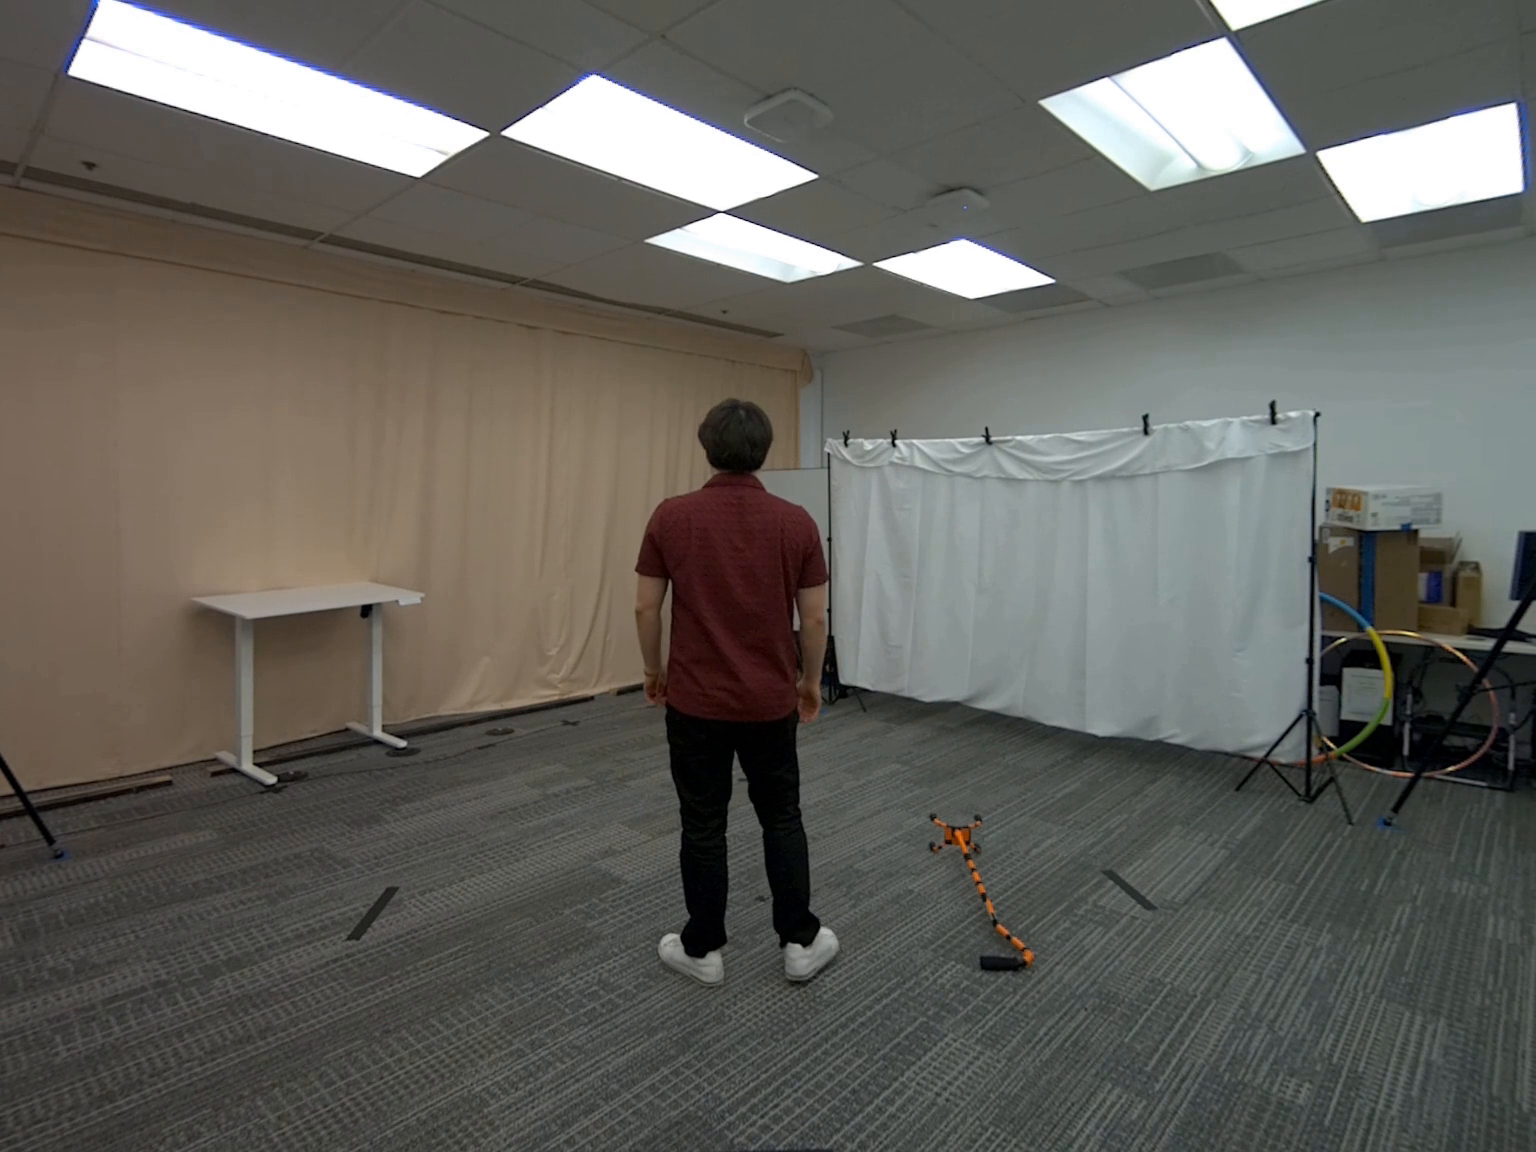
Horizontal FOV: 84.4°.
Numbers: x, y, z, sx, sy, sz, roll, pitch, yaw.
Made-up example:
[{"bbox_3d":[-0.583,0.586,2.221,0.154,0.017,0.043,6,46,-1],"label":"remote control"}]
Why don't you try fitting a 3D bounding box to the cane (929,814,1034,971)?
[{"bbox_3d":[0.755,1.102,2.956,0.207,0.151,0.910,0,9,1],"label":"cane"}]
